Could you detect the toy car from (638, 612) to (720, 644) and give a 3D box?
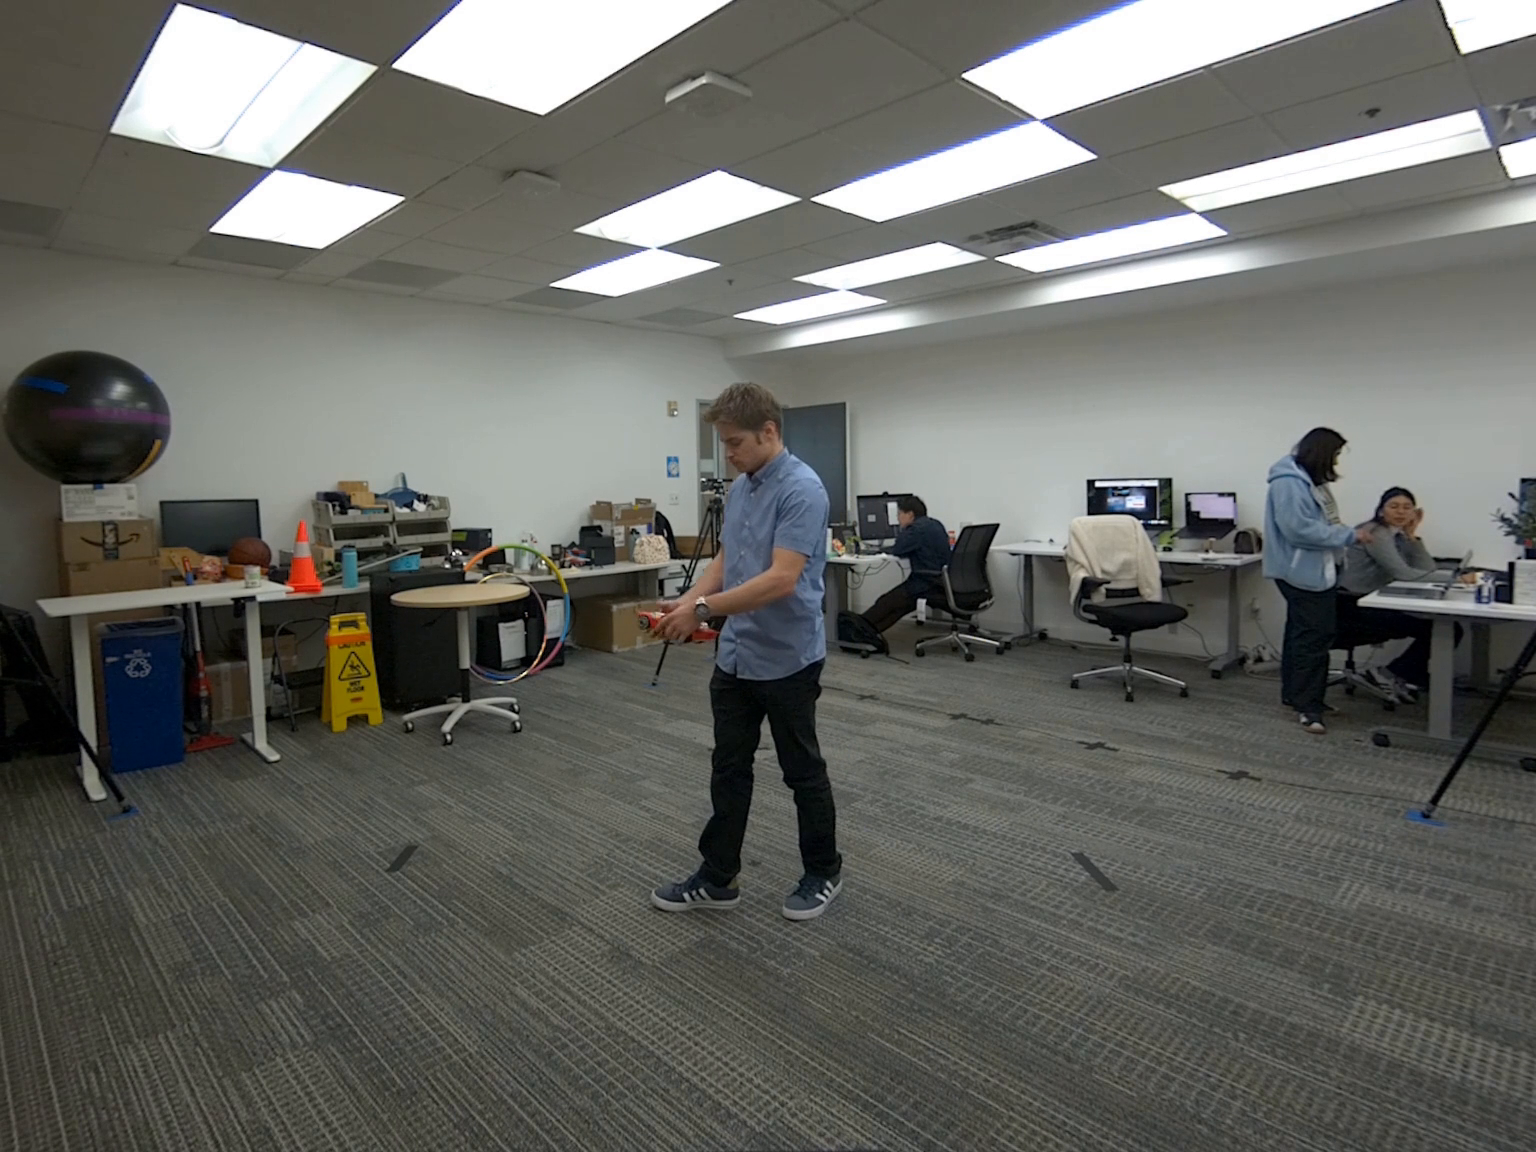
[{"bbox_3d":[-0.265,0.159,2.590,0.261,0.083,0.127,2,-2,27],"label":"toy car"}]
